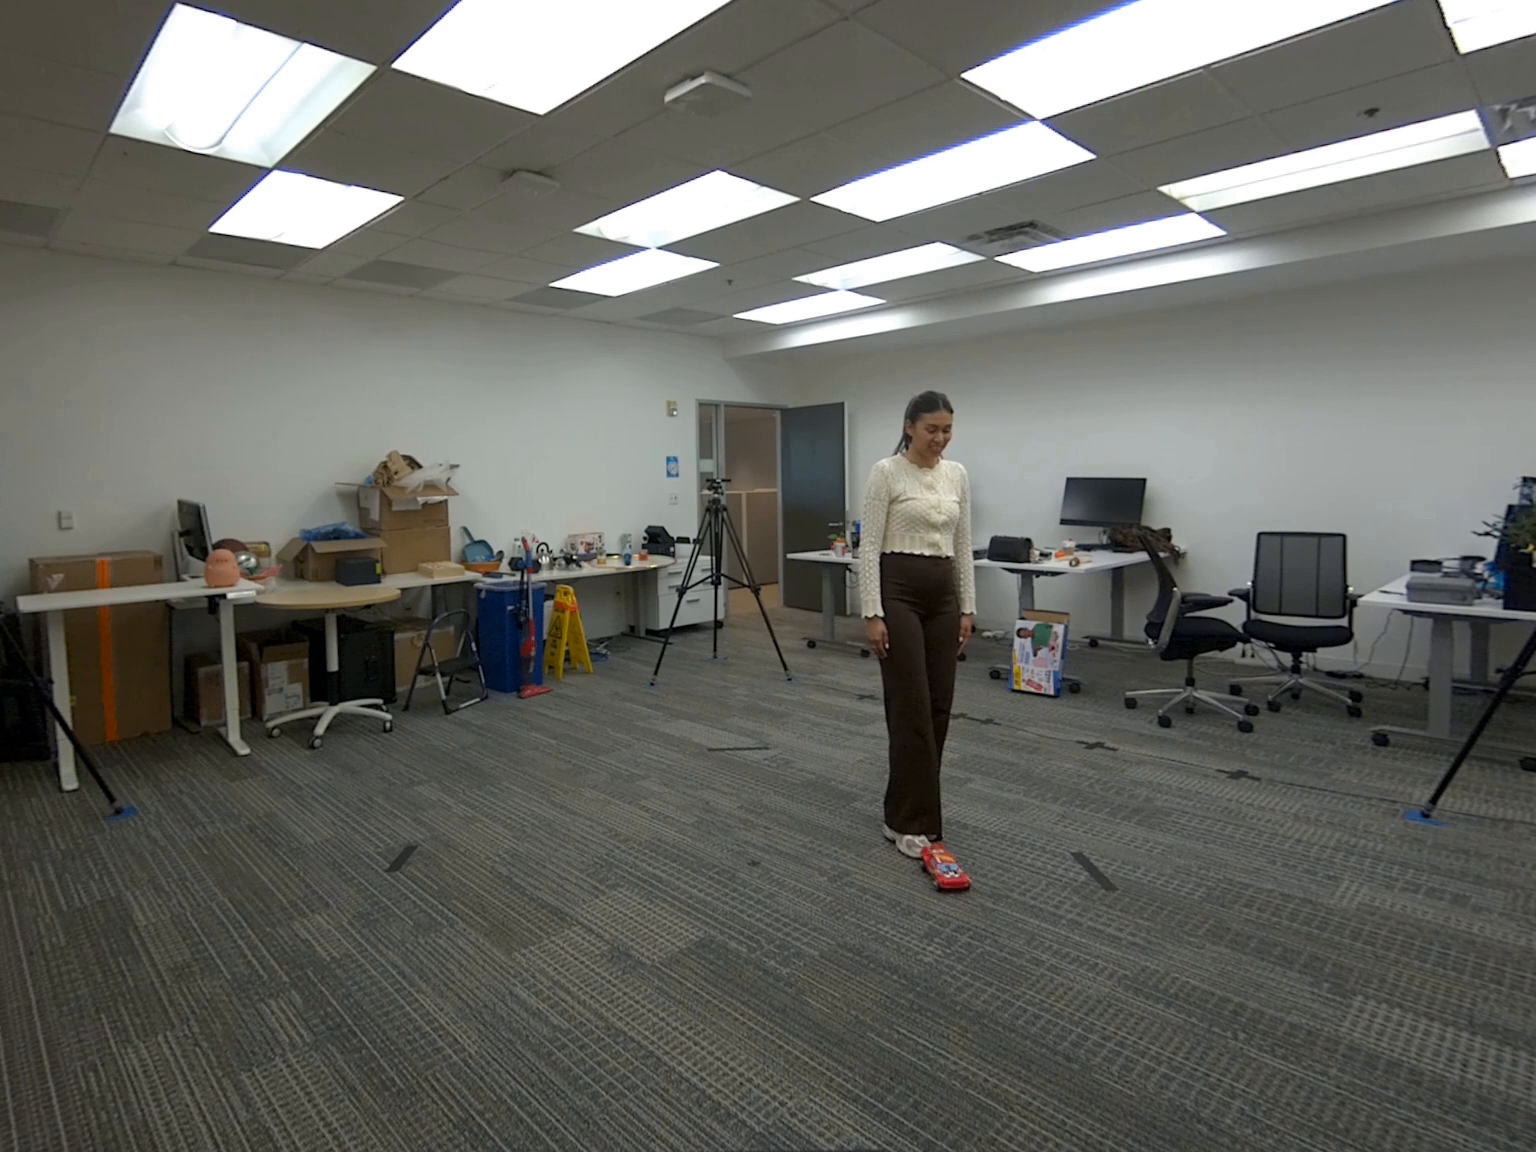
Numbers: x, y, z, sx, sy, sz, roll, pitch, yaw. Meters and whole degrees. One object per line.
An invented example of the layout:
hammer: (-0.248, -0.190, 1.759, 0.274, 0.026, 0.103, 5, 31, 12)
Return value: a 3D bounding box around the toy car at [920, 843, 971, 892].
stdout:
toy car: (0.605, 1.019, 2.983, 0.129, 0.082, 0.260, -2, 17, -7)
